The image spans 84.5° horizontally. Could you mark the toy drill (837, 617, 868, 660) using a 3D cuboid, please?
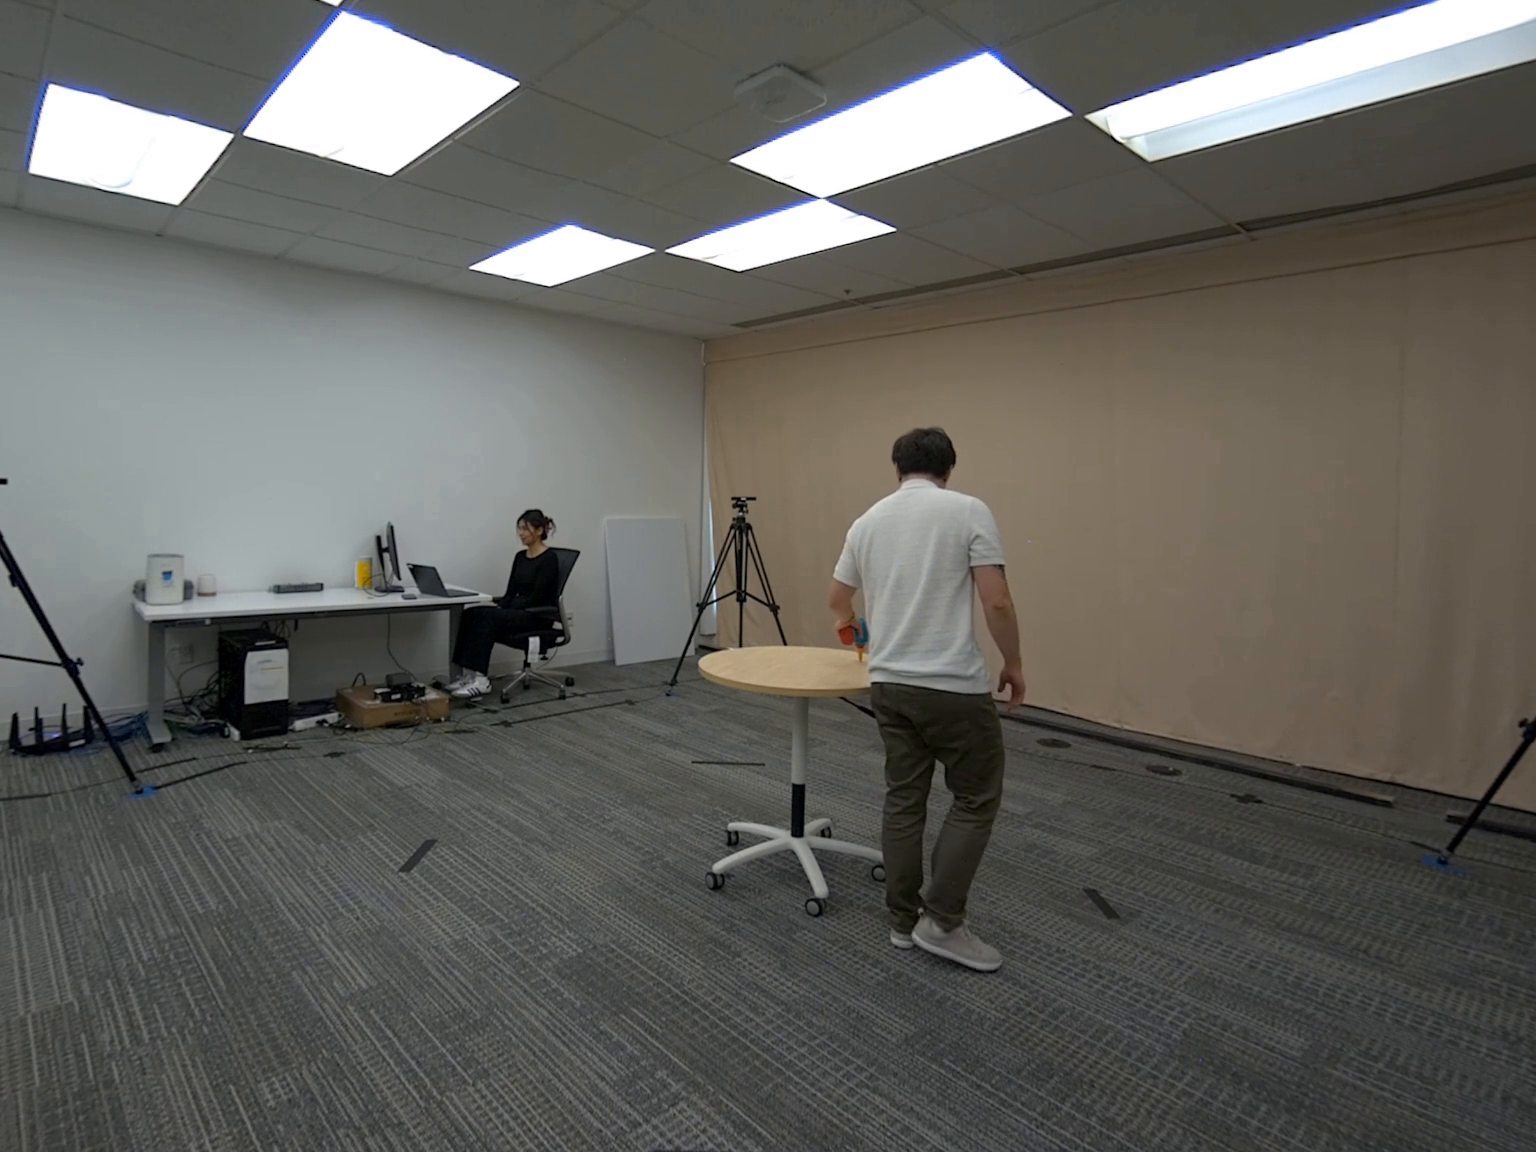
[{"bbox_3d":[0.323,0.246,3.159,0.062,0.169,0.143,5,10,31],"label":"toy drill"}]
